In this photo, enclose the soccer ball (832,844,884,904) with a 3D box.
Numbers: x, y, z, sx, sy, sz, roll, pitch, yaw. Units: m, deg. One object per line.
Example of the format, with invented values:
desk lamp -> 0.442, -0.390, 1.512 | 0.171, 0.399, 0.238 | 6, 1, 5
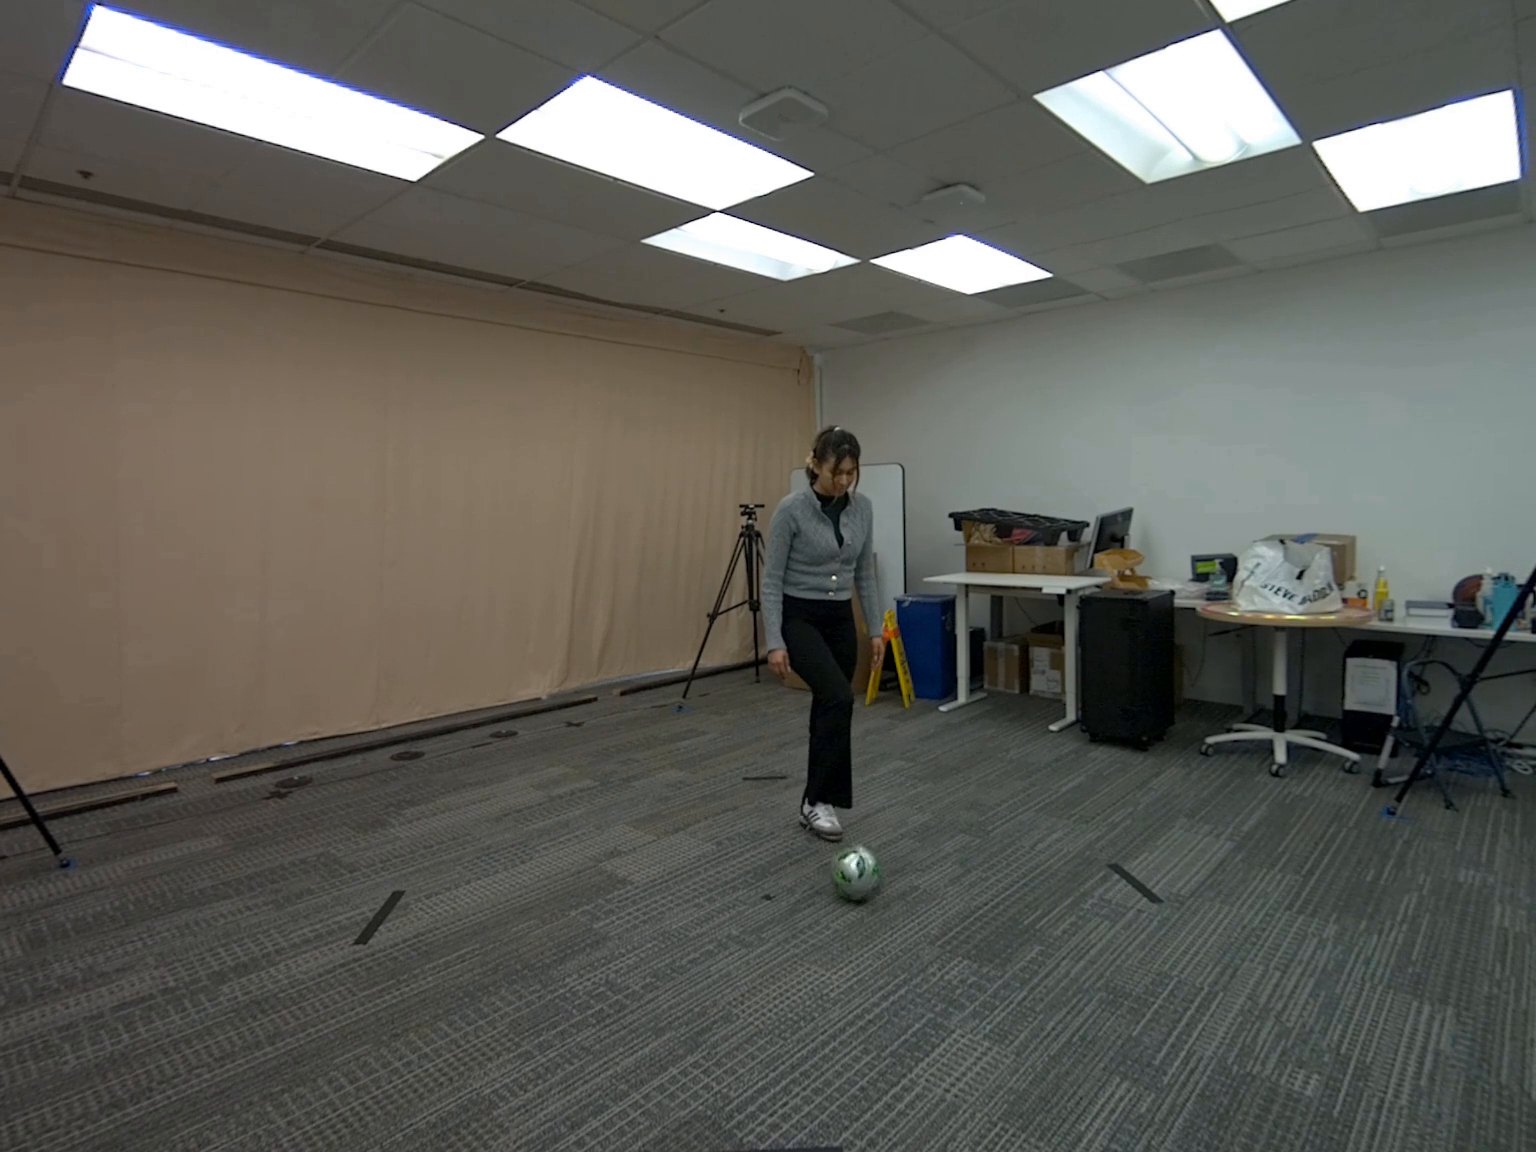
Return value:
soccer ball -> 0.311, 1.032, 2.962 | 0.187, 0.187, 0.188 | -1, 4, -2
